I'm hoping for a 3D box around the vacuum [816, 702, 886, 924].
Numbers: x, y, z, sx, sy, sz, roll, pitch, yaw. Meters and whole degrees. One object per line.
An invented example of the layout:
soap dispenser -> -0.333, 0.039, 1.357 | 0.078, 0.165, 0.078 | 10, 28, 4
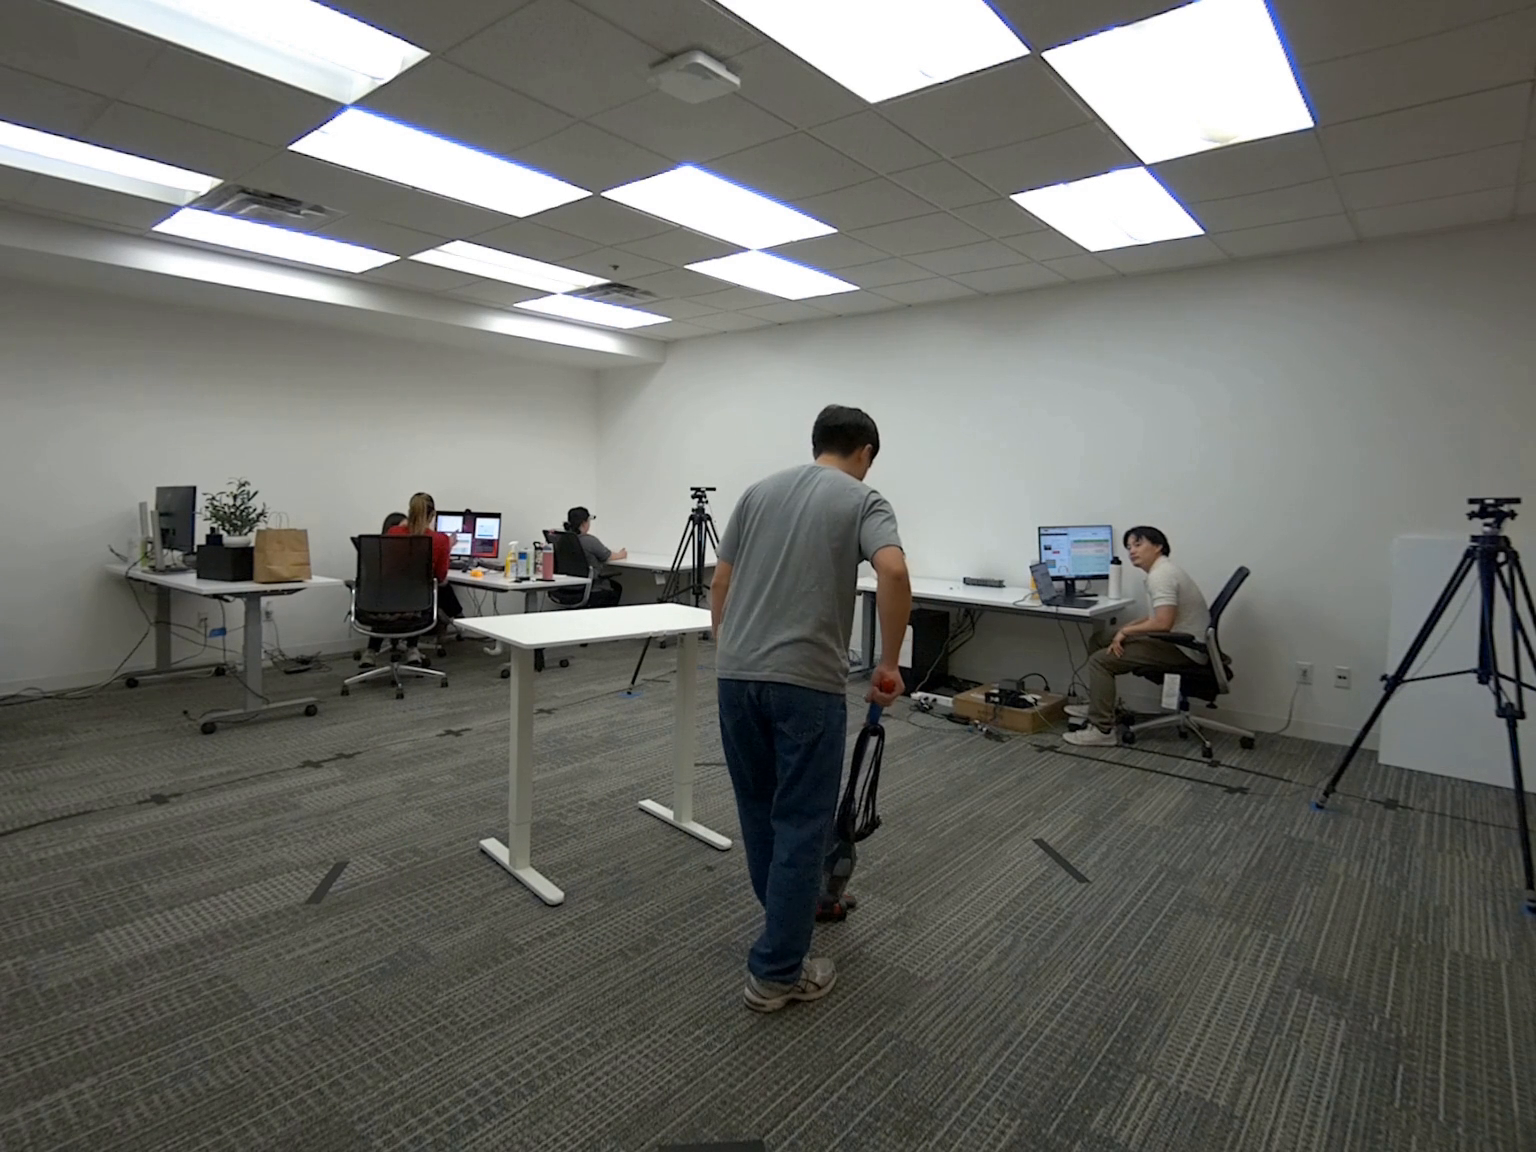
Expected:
vacuum -> 0.249, 0.692, 2.521 | 0.250, 1.027, 0.148 | 5, 38, -9
